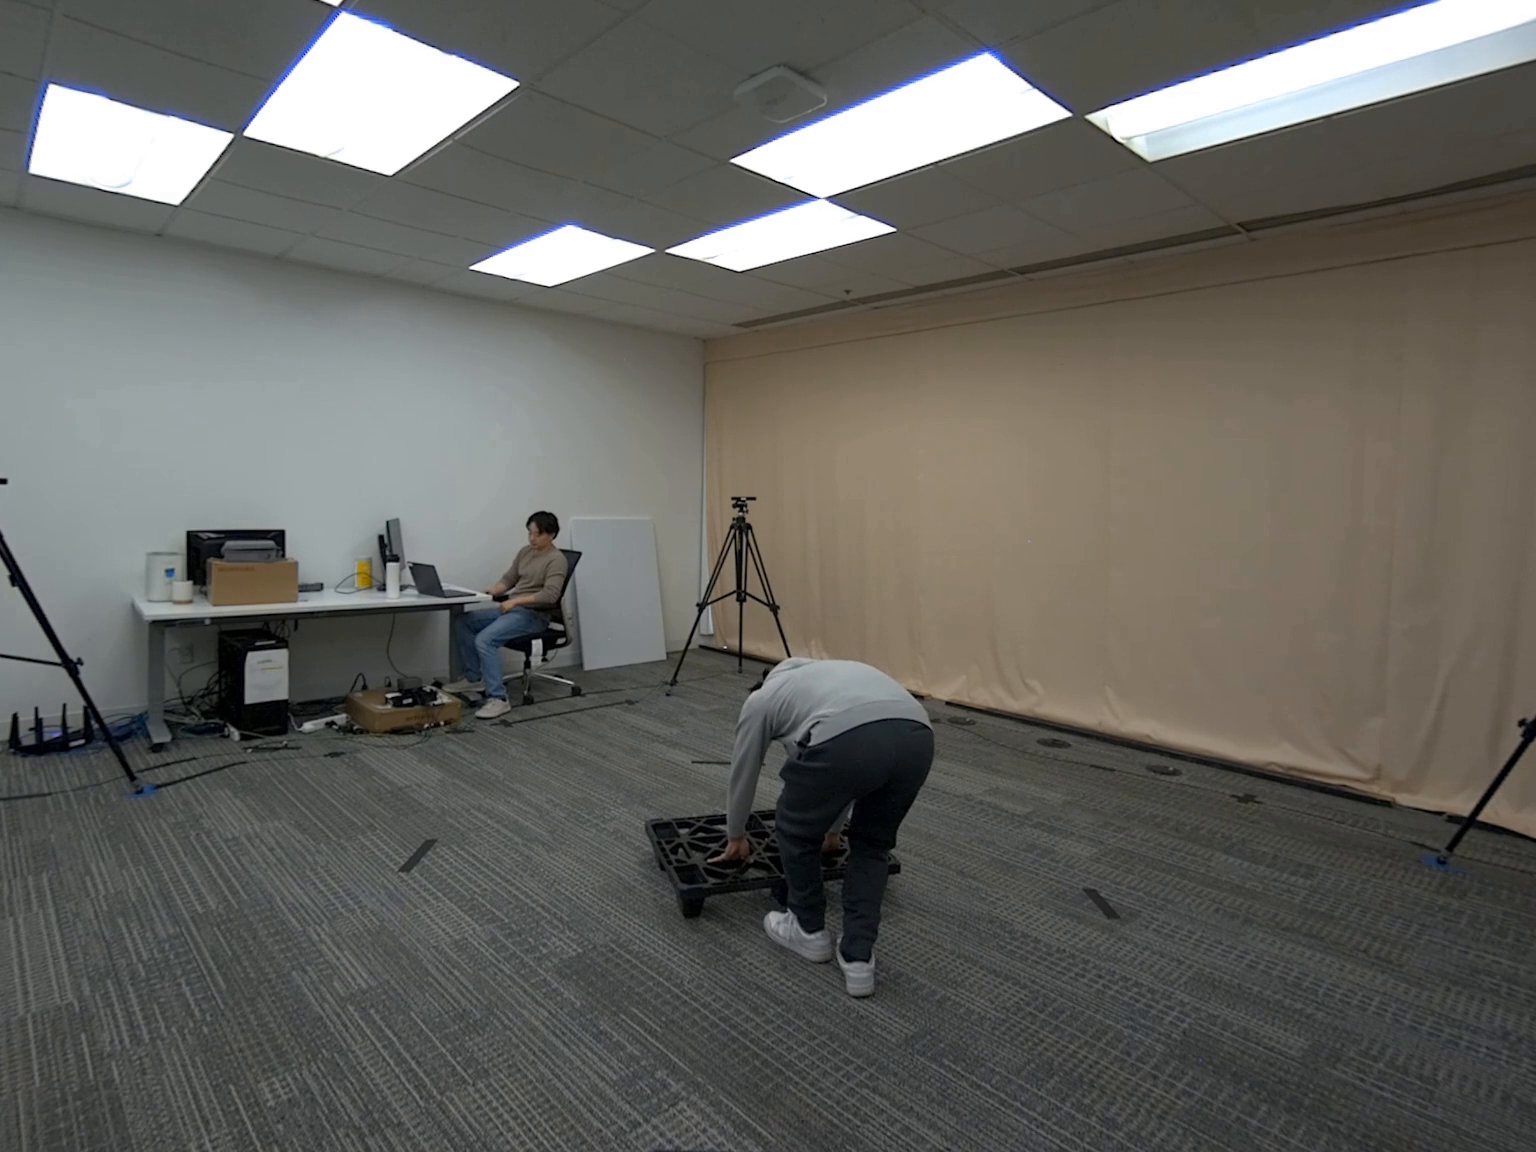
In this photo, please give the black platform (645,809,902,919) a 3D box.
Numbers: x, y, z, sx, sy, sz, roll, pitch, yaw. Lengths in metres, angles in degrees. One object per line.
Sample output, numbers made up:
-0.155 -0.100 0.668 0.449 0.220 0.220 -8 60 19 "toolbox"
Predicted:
-0.009 1.041 3.101 0.795 0.143 0.615 -1 6 -18 "black platform"
